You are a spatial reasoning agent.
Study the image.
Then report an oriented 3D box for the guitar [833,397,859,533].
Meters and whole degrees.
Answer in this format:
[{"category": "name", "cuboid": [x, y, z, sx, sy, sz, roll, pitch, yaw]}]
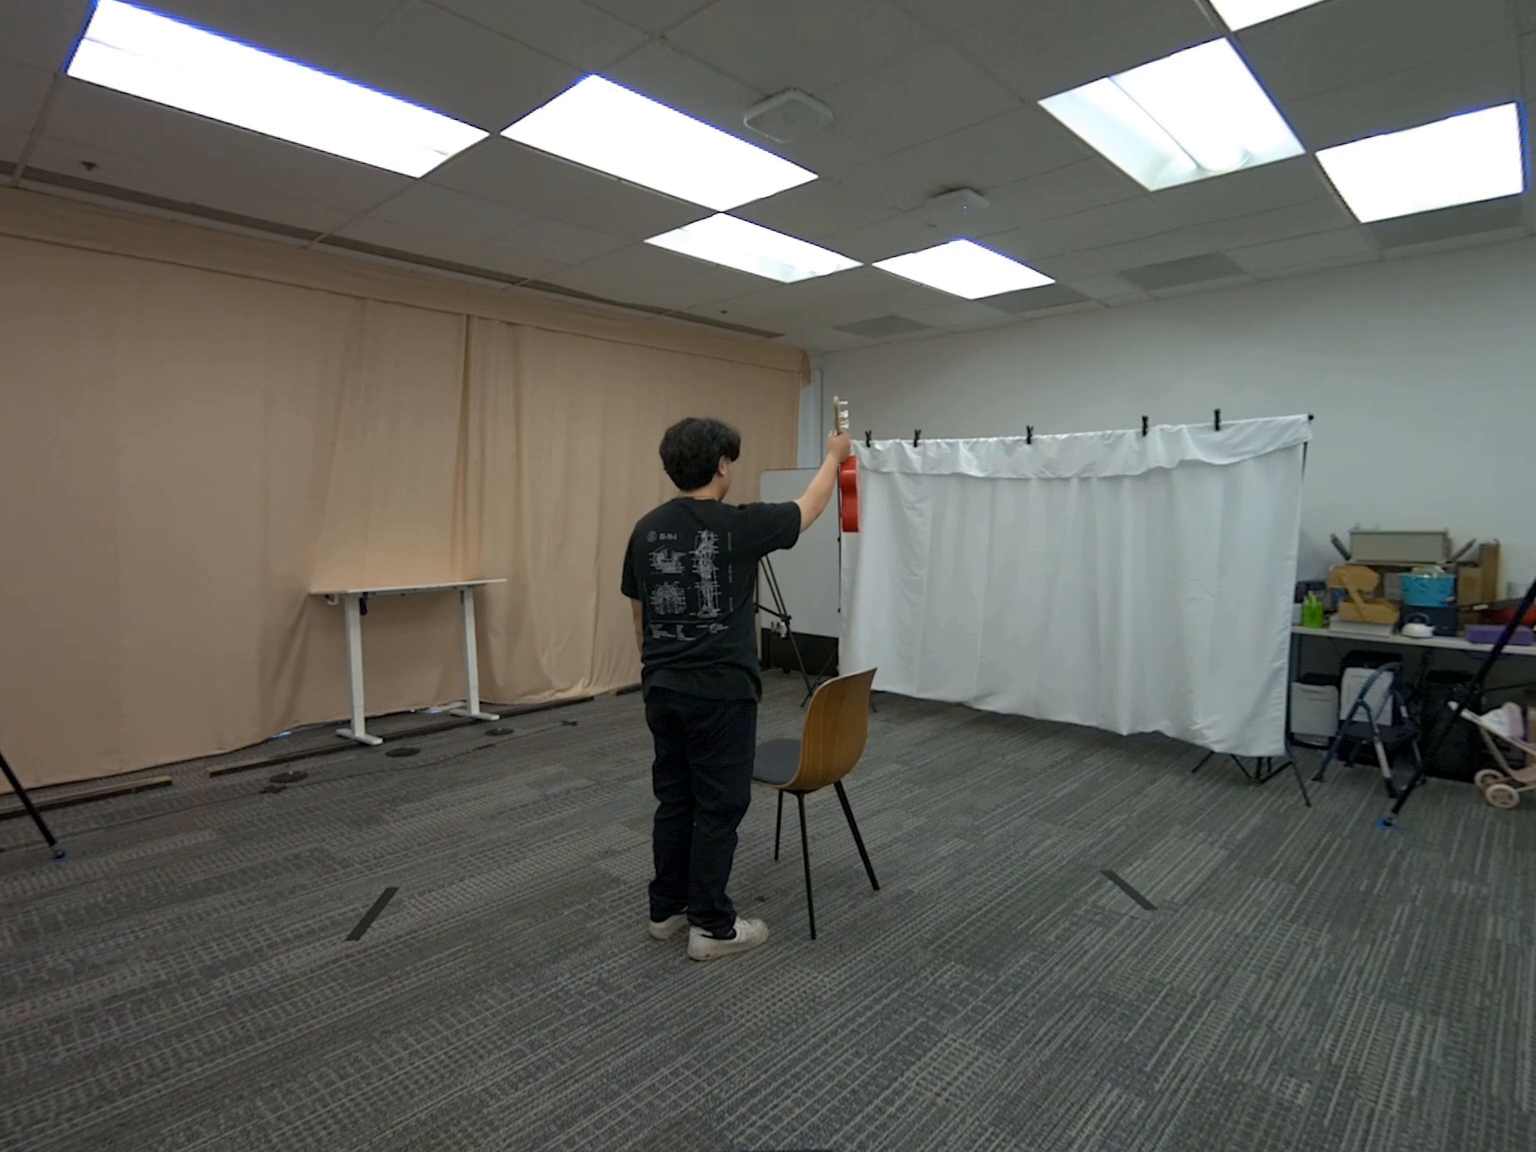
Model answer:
[{"category": "guitar", "cuboid": [0.275, -0.365, 2.922, 0.071, 0.486, 0.195, -4, 39, 8]}]
